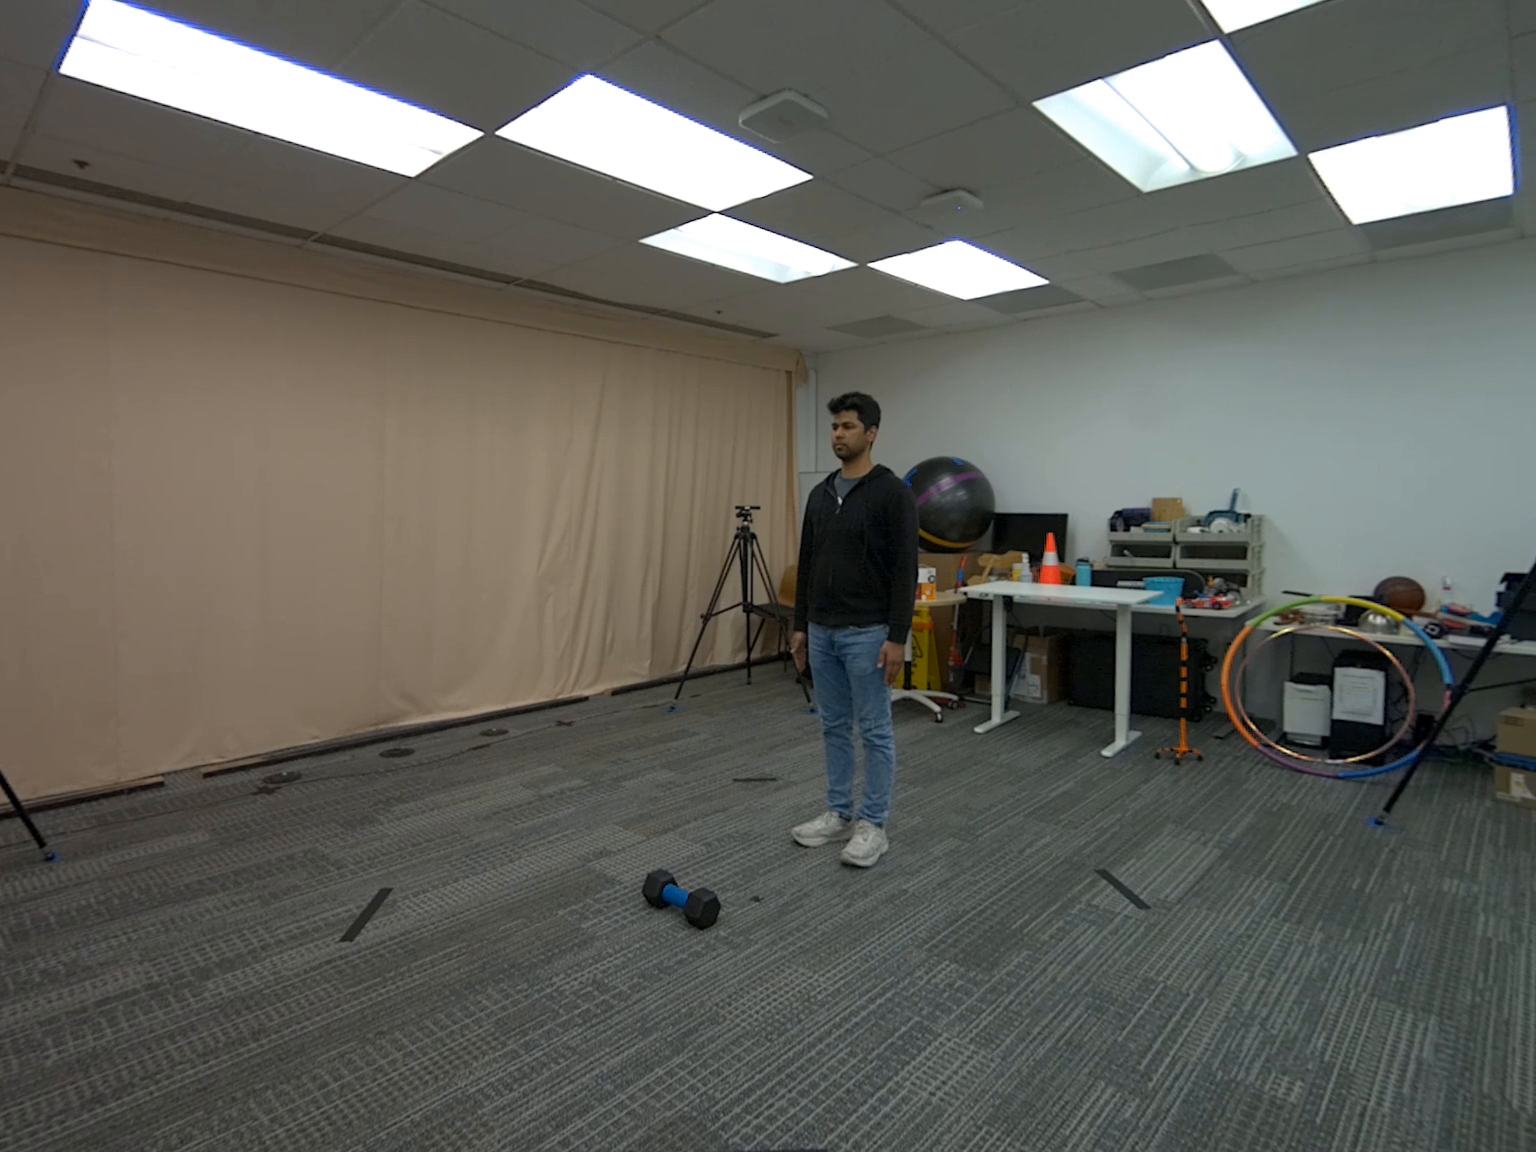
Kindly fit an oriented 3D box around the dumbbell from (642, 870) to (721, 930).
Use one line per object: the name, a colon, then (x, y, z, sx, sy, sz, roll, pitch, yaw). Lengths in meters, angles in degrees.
dumbbell: (-0.295, 1.101, 2.872, 0.303, 0.123, 0.105, 4, -22, 43)
